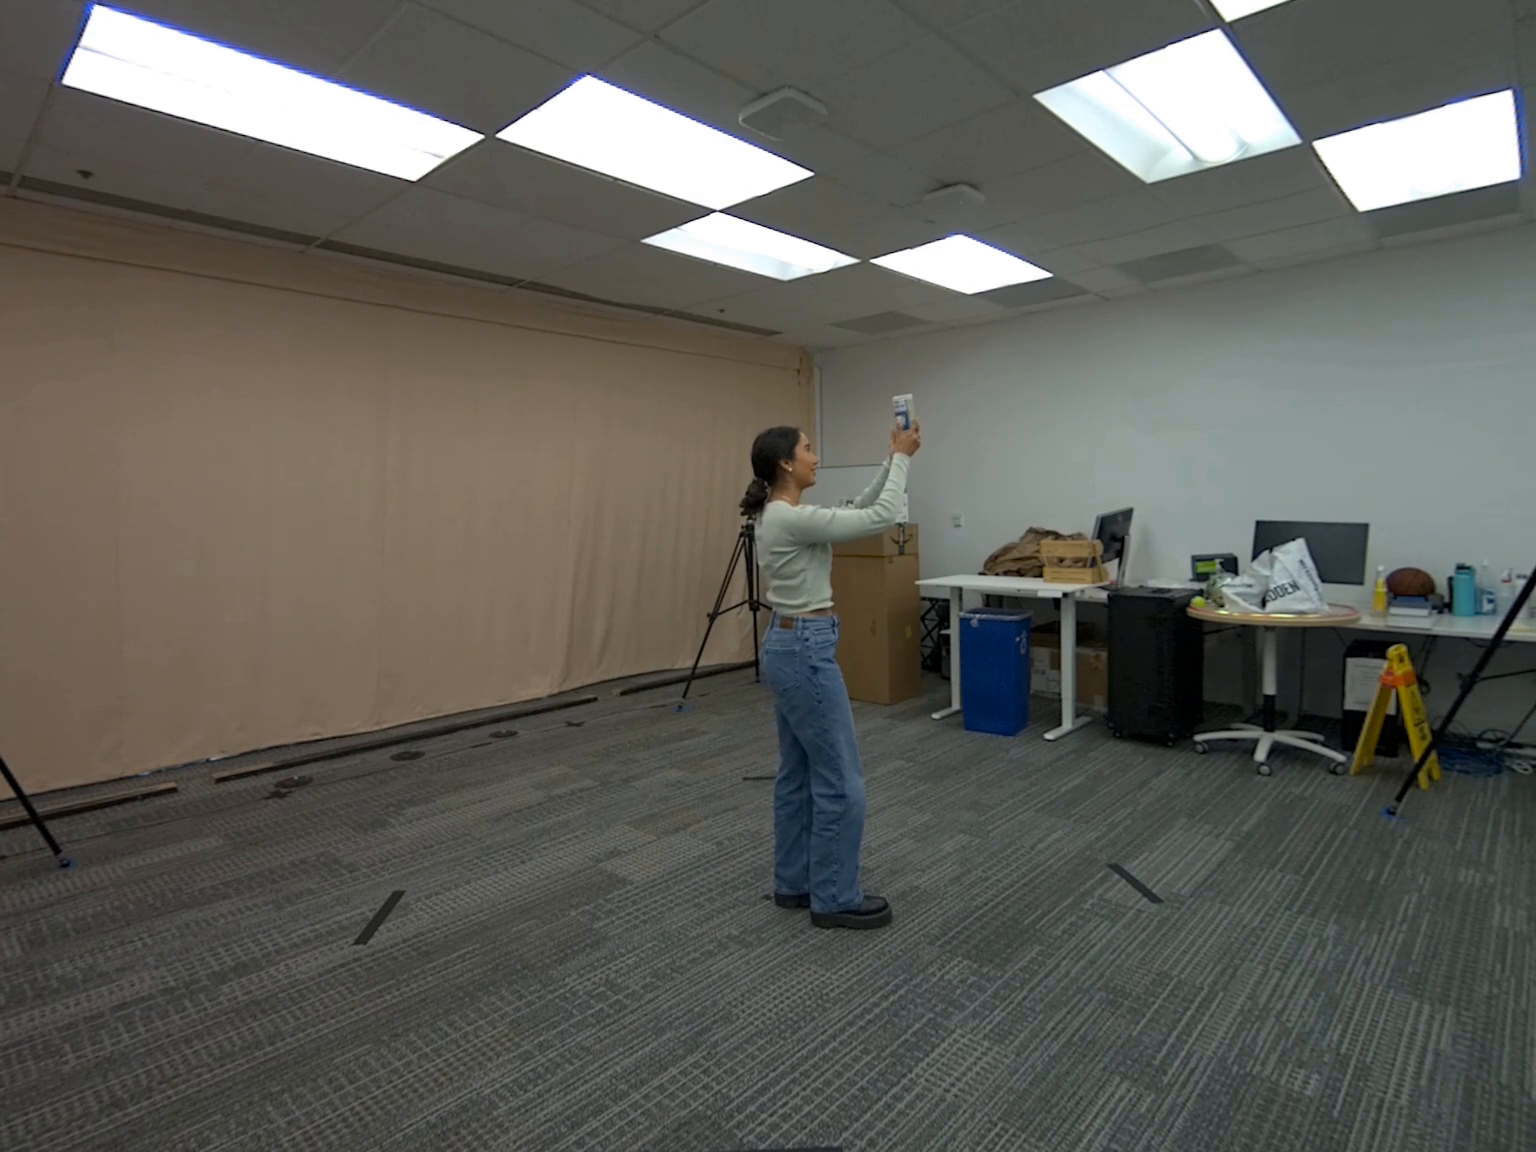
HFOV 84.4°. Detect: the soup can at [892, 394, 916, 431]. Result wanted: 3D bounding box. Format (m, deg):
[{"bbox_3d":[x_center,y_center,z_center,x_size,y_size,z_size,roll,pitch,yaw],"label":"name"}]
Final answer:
[{"bbox_3d":[0.459,-0.551,2.845,0.067,0.121,0.067,-10,7,-1],"label":"soup can"}]
